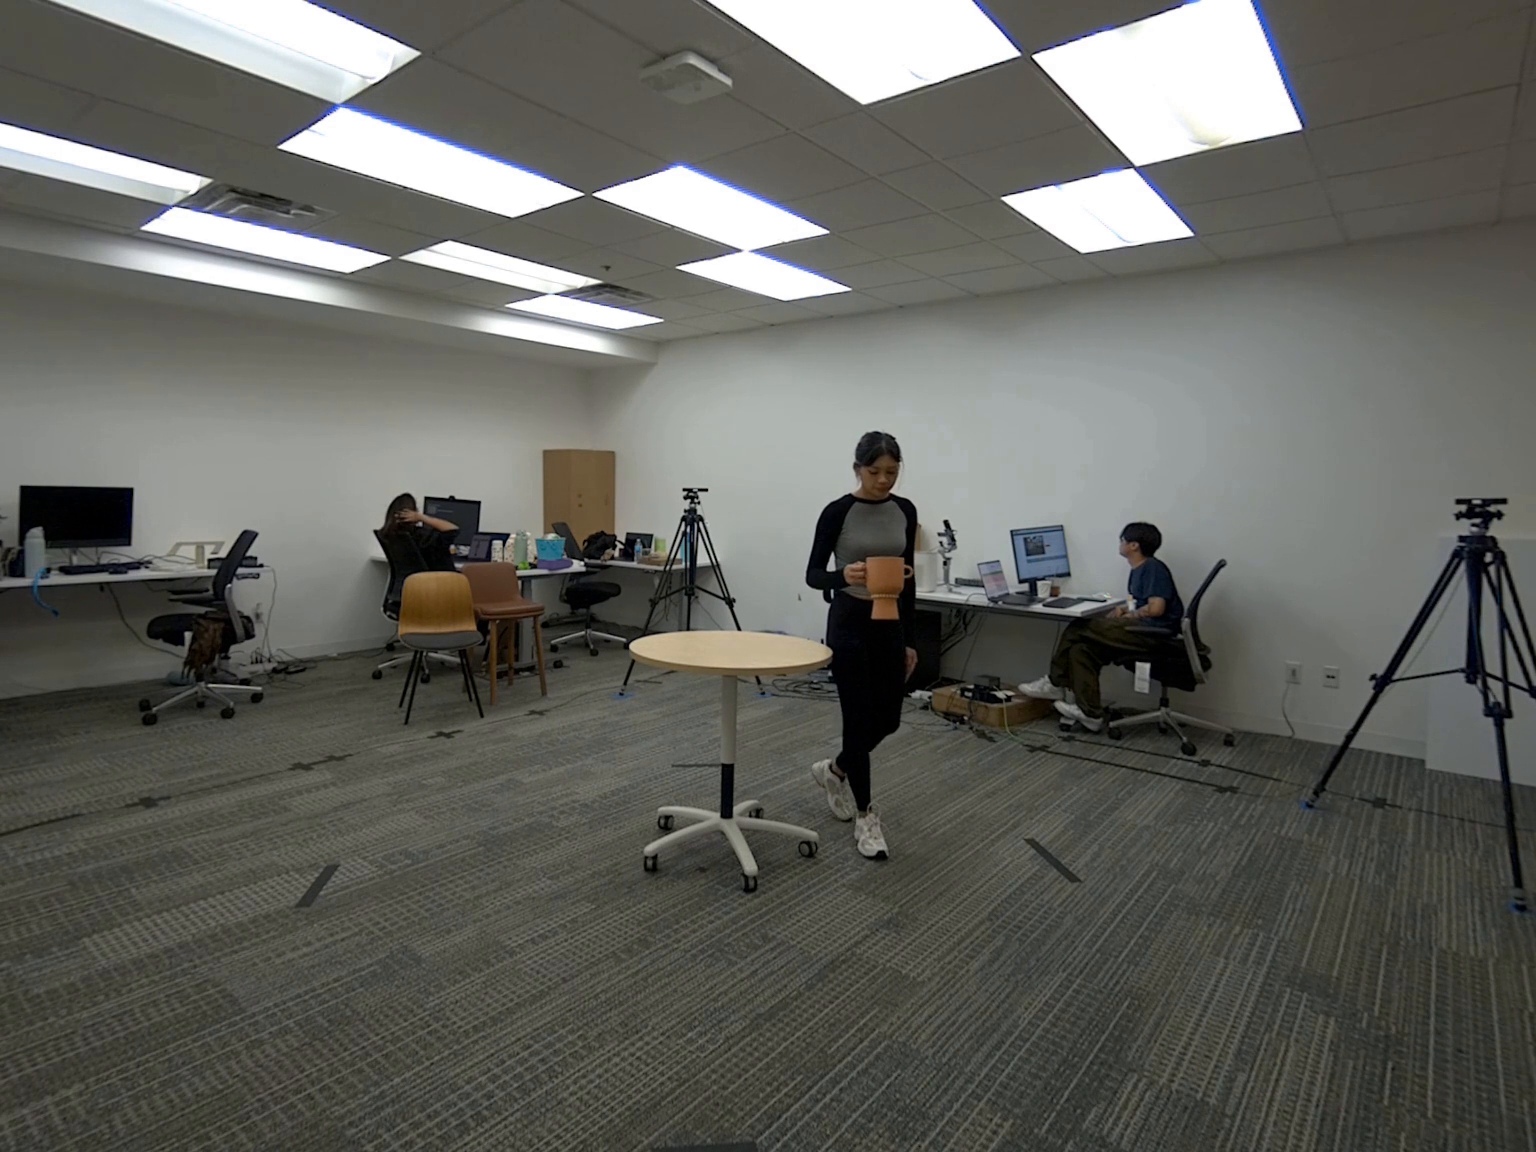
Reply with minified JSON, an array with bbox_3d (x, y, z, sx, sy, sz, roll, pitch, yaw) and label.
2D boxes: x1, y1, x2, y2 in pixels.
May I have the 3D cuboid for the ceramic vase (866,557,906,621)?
[{"bbox_3d":[0.416,0.044,3.074,0.130,0.221,0.164,5,-5,-43],"label":"ceramic vase"}]
